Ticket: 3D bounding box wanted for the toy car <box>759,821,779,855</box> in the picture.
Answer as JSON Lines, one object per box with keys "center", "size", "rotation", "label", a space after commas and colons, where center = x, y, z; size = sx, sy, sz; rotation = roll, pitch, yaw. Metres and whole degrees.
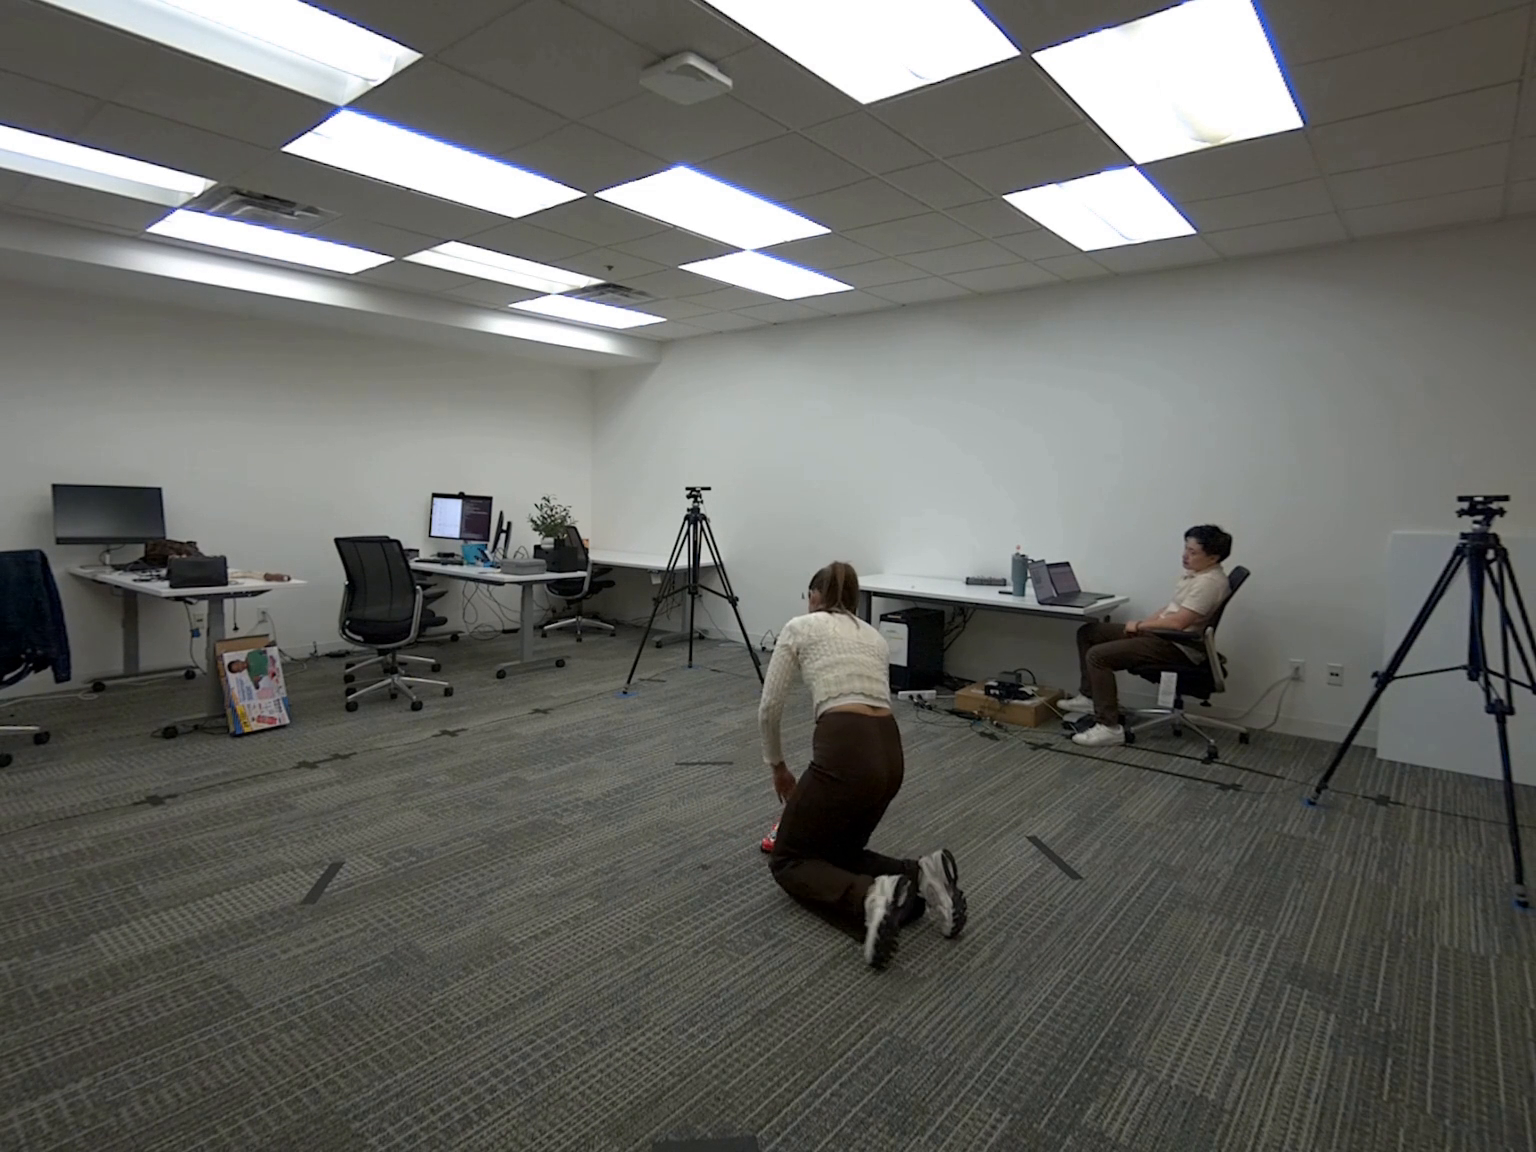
{"center": [0.050, 1.008, 3.330], "size": [0.133, 0.082, 0.253], "rotation": [2, 16, 18], "label": "toy car"}
